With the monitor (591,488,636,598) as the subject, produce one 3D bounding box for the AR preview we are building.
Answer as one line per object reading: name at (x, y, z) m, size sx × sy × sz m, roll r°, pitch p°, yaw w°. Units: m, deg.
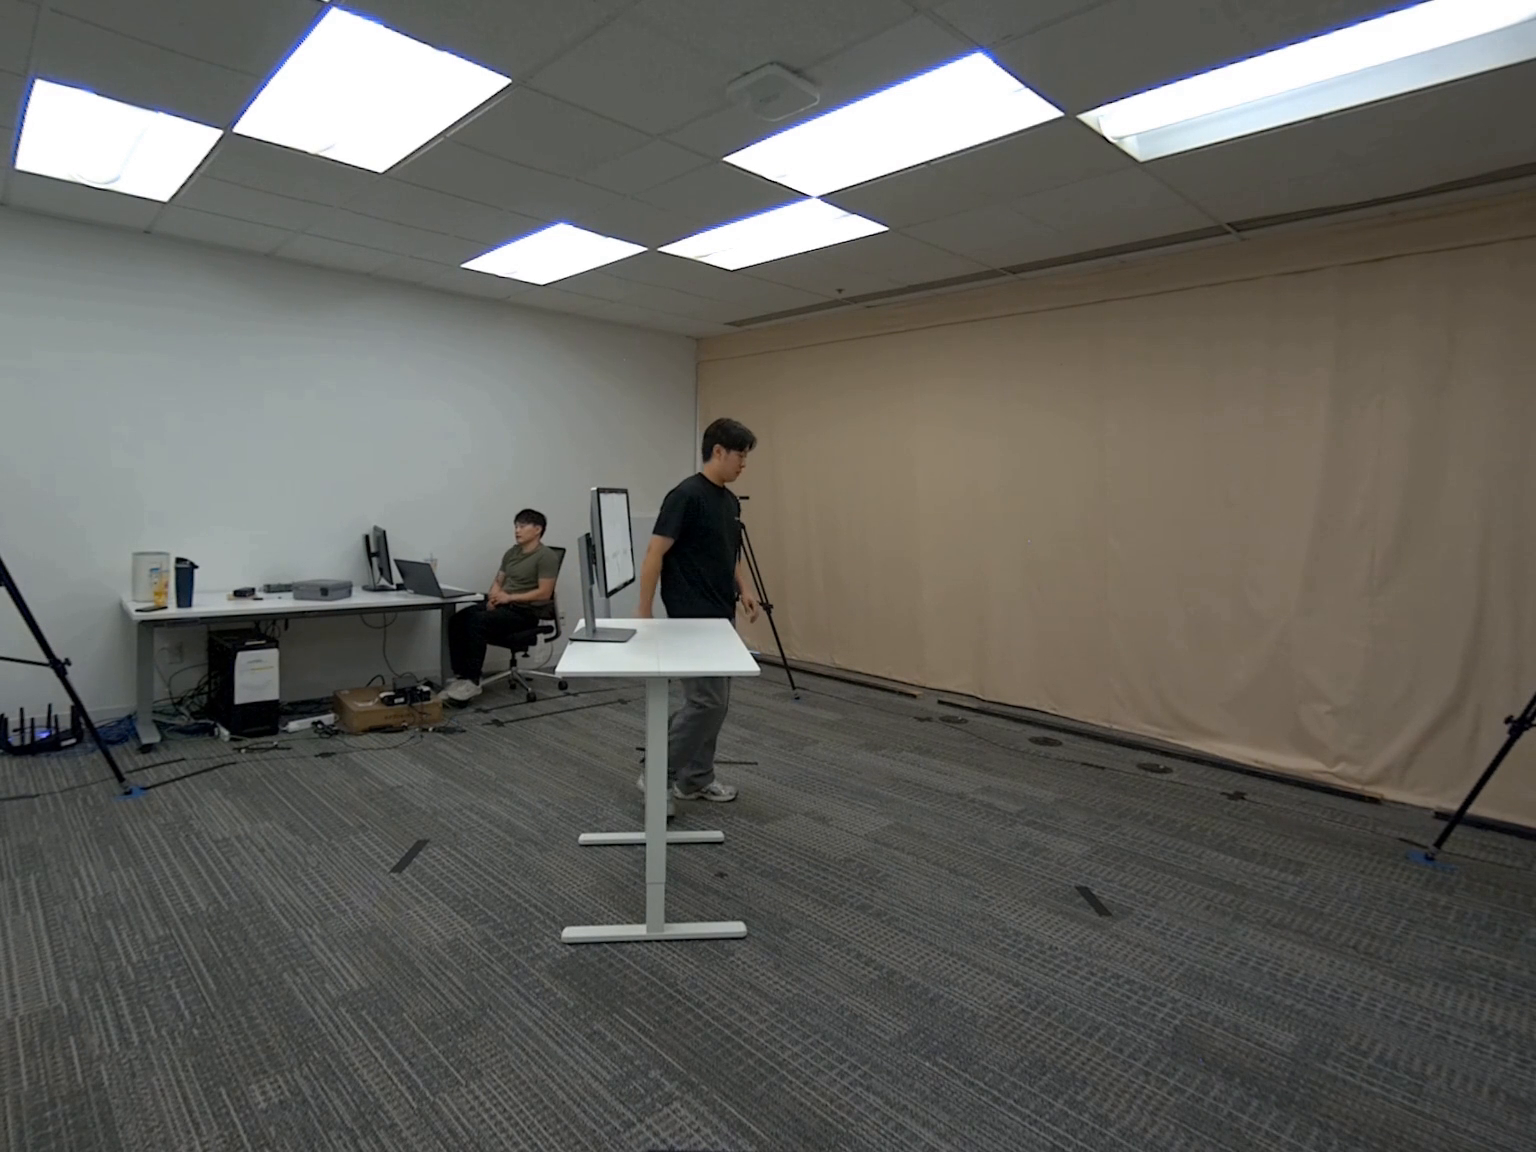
monitor at (-0.597, -0.036, 3.020) m, size 0.223 × 0.564 × 0.562 m, roll 9°, pitch 5°, yaw 2°
